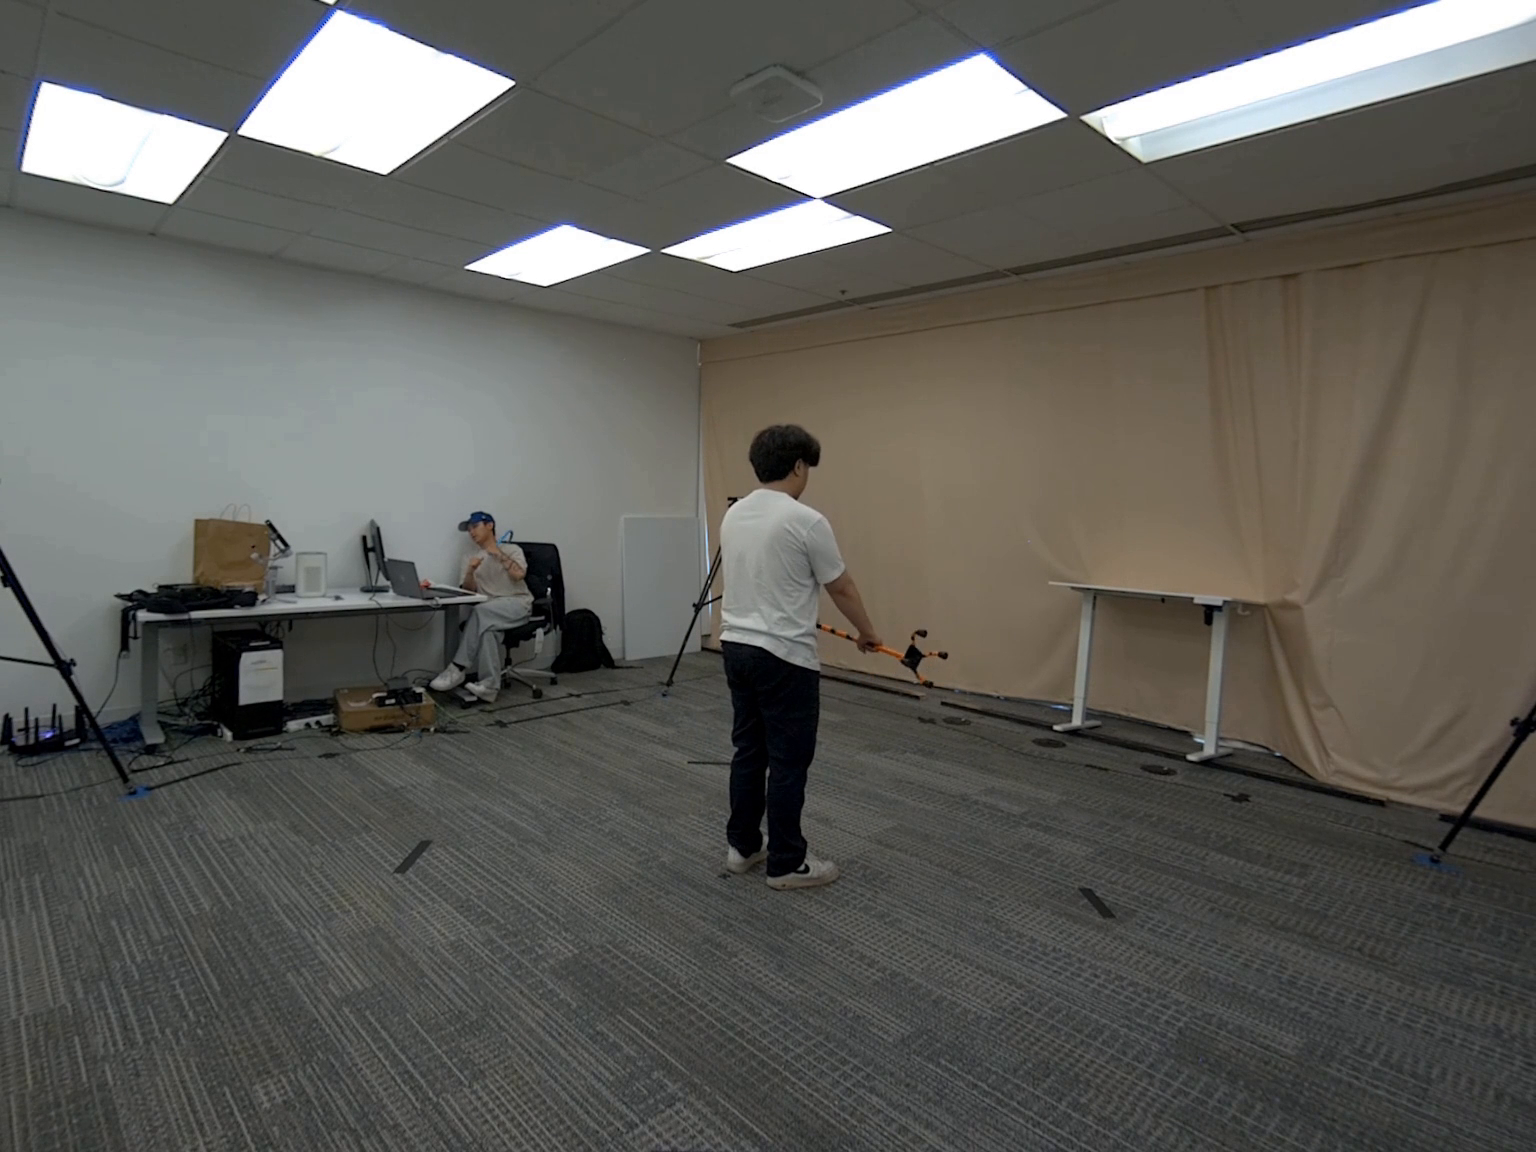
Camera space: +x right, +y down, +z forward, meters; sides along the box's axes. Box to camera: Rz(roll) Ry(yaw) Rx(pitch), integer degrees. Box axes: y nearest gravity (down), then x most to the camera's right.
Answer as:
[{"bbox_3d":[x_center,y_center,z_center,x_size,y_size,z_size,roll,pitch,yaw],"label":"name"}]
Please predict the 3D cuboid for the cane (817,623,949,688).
[{"bbox_3d":[0.261,0.215,3.382,0.934,0.152,0.200,16,-22,47],"label":"cane"}]
